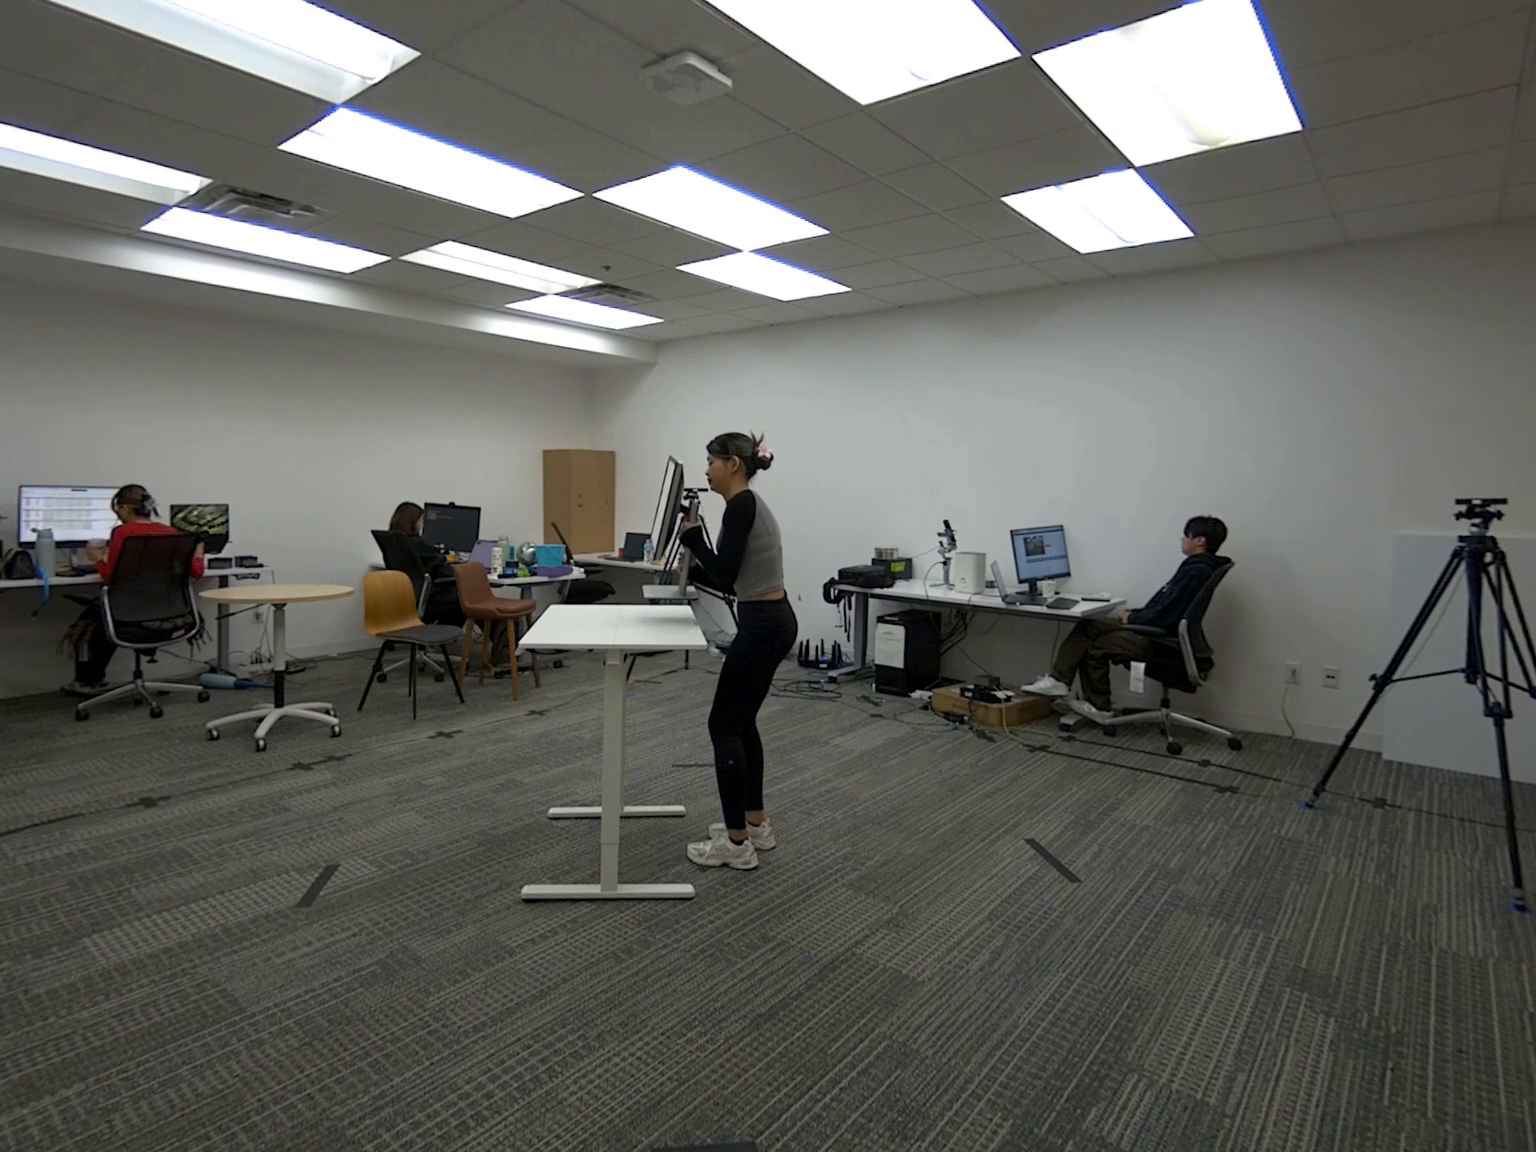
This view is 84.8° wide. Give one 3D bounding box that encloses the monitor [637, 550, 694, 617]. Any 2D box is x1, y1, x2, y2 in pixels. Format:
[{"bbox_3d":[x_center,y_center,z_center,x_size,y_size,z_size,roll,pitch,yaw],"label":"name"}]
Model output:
[{"bbox_3d":[-0.370,-0.189,3.273,0.185,0.519,0.549,0,9,-11],"label":"monitor"}]
